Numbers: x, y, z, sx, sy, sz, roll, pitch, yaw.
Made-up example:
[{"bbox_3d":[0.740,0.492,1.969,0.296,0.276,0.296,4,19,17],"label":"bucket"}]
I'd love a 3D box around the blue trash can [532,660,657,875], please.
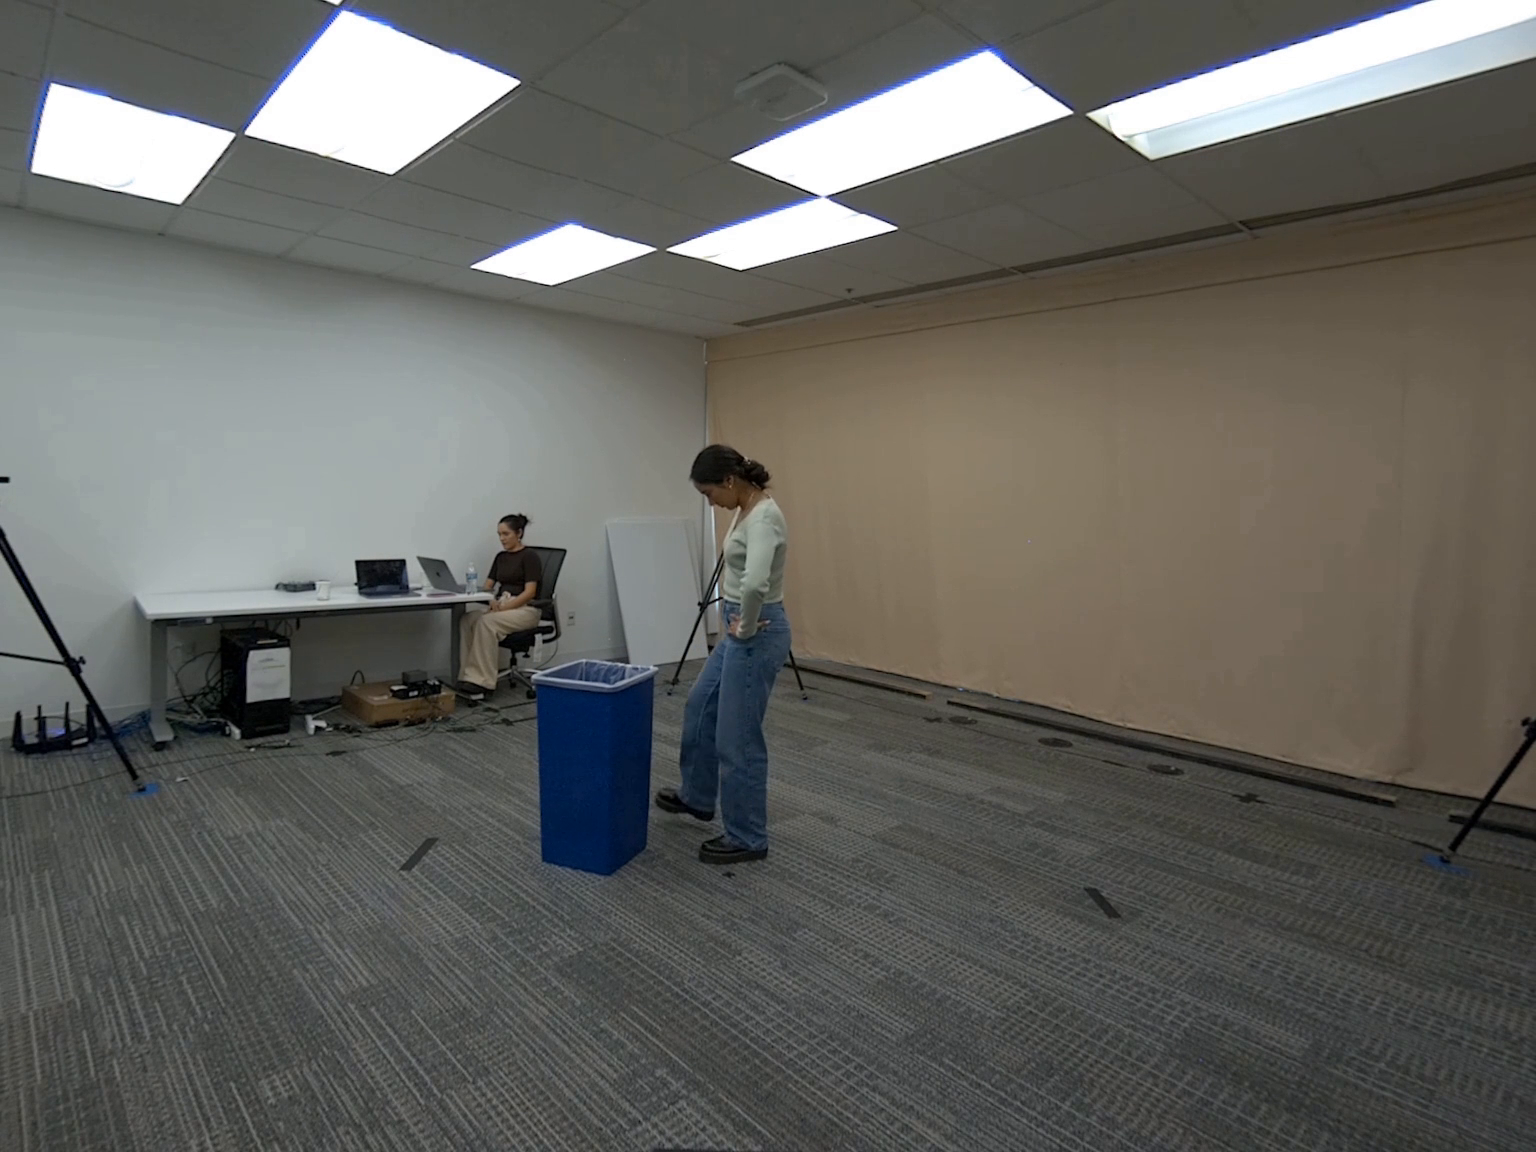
[{"bbox_3d":[-0.672,0.718,3.236,0.381,0.712,0.372,3,4,22],"label":"blue trash can"}]
